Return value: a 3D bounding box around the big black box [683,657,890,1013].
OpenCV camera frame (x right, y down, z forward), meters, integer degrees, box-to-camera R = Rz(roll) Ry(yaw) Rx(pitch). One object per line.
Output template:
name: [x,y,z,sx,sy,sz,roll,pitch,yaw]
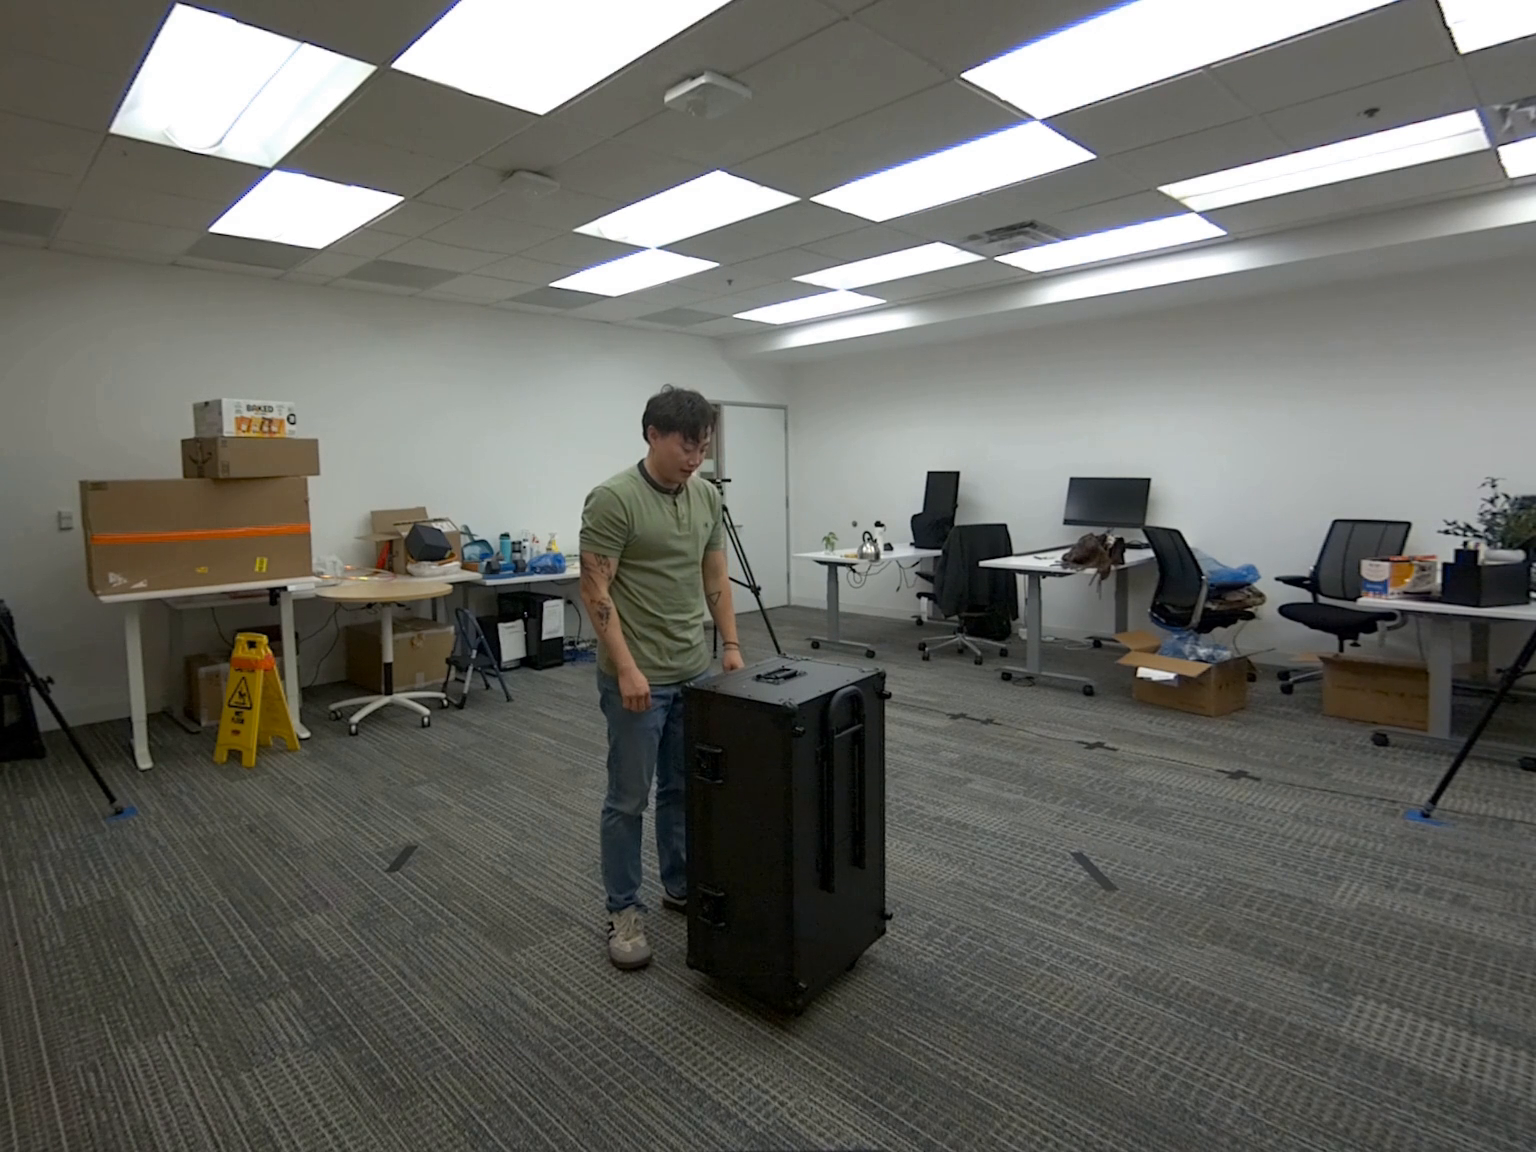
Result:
big black box: [0.069,0.704,2.383,0.408,0.858,0.508,4,6,37]
